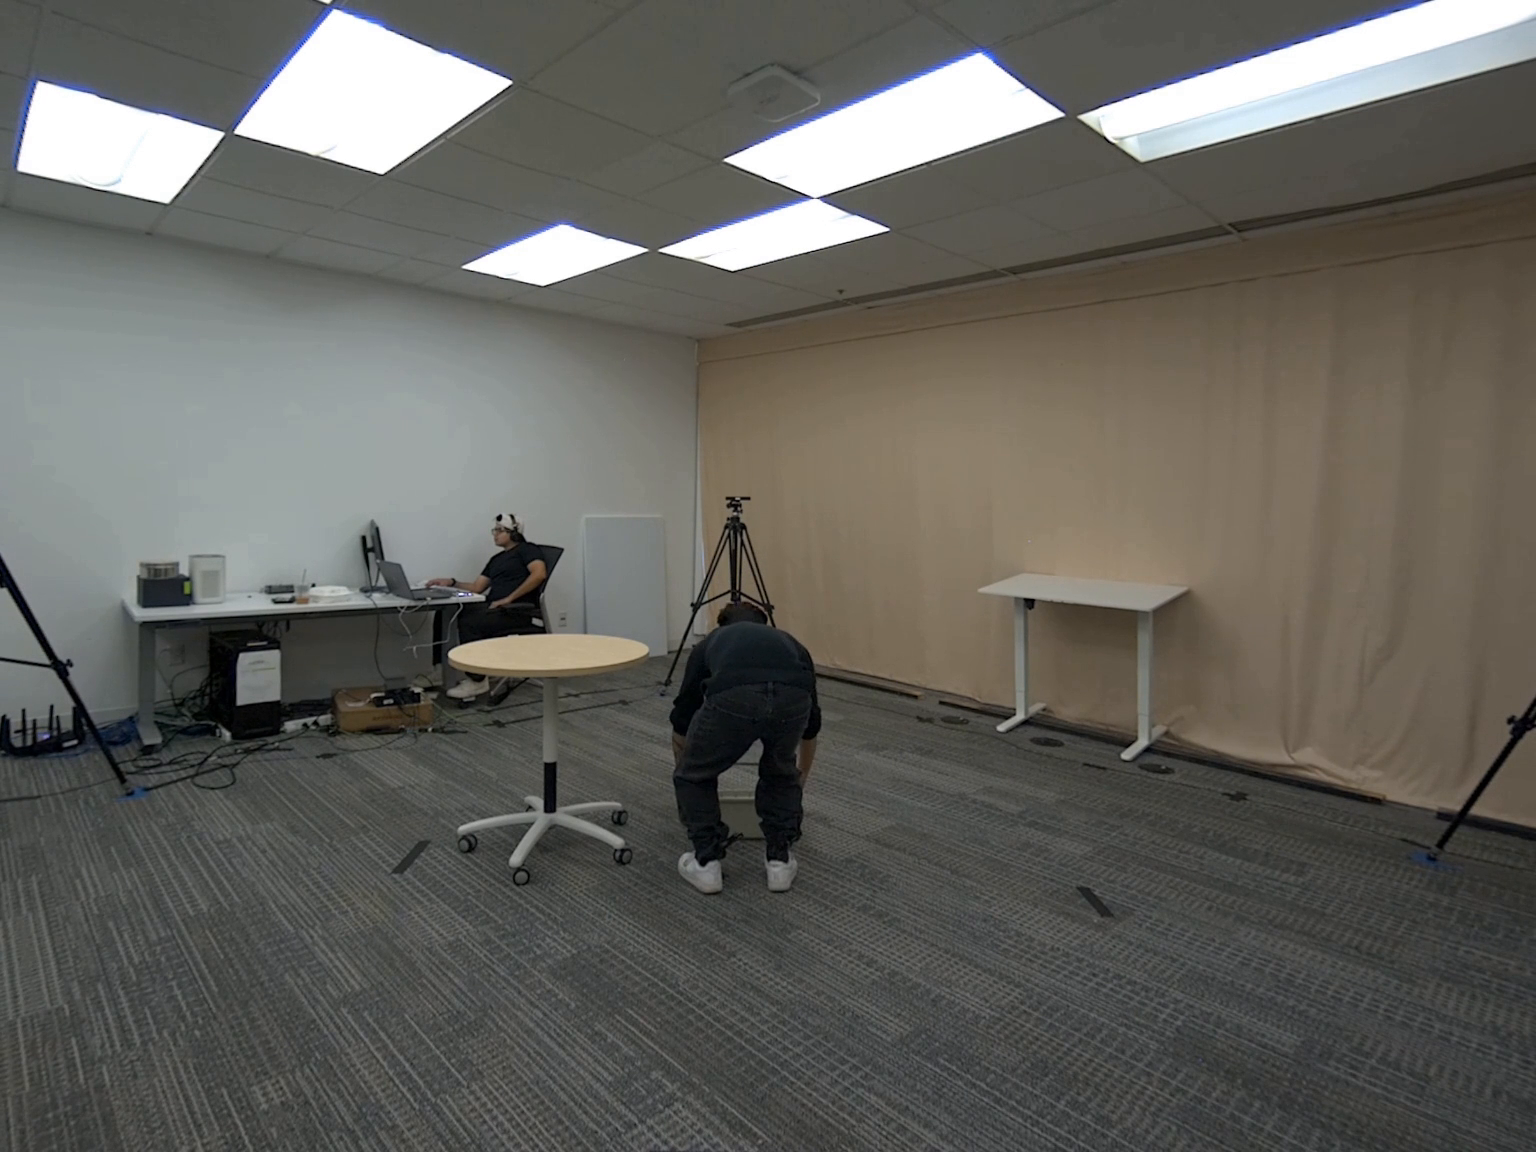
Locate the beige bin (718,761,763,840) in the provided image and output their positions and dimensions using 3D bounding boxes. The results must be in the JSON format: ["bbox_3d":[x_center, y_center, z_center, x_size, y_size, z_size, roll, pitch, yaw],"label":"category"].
[{"bbox_3d":[-0.123,0.979,3.601,0.420,0.188,0.380,2,5,-6],"label":"beige bin"}]
